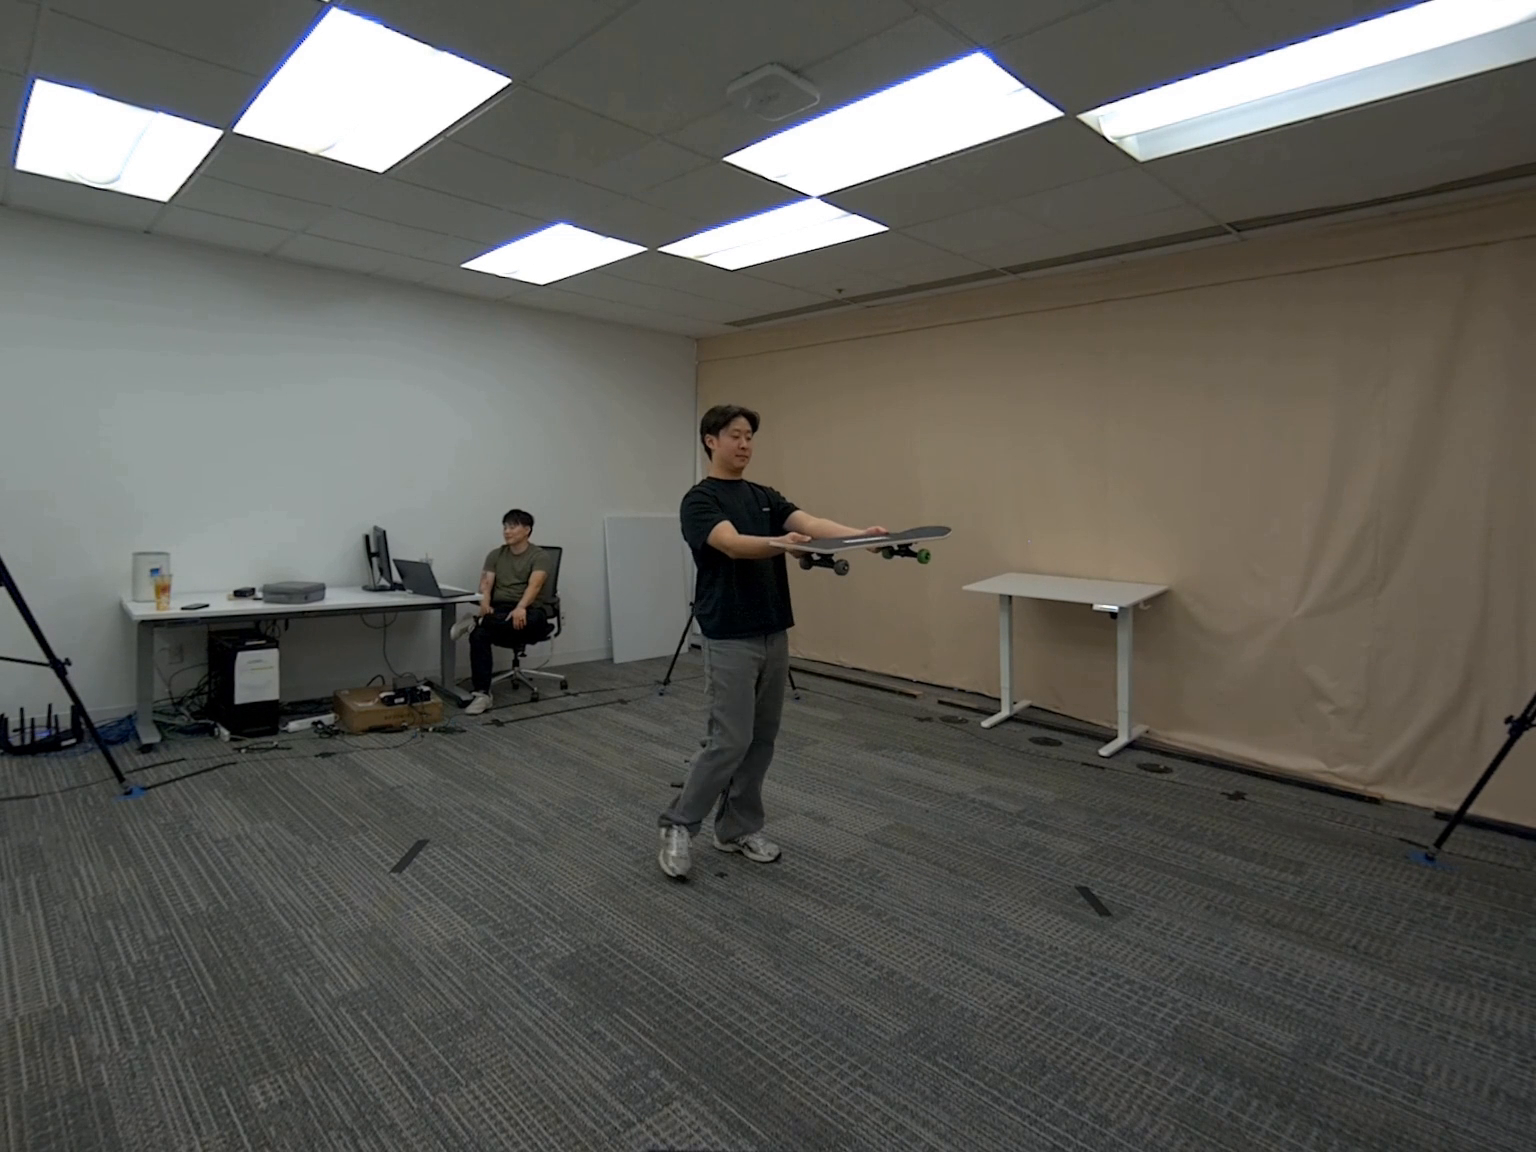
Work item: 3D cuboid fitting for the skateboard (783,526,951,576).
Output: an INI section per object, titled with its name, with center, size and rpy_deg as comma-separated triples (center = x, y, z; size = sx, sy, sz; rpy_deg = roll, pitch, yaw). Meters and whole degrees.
[skateboard]
center = 0.310, -0.084, 2.744
size = 0.769, 0.110, 0.198
rpy_deg = -8, 11, -41
